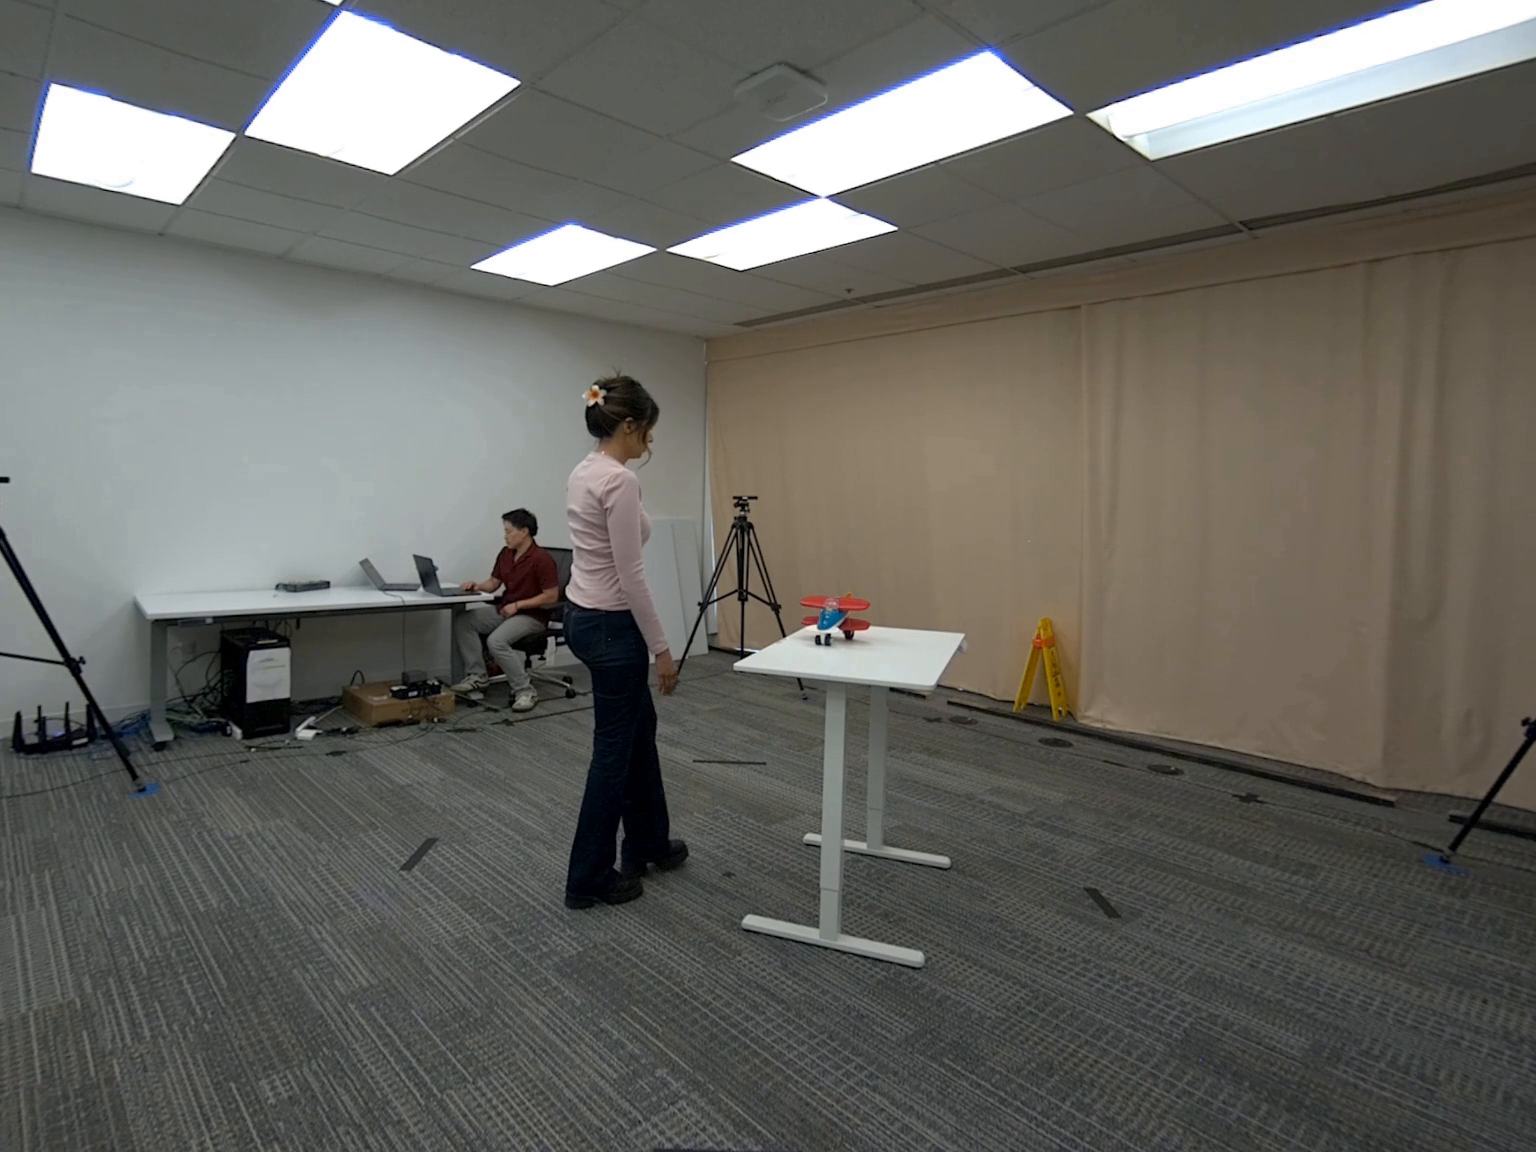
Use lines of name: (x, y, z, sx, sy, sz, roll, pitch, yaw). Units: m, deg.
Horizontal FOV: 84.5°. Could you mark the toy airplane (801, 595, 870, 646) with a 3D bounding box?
toy airplane: (0.243, 0.161, 3.027, 0.250, 0.156, 0.261, 0, 4, -8)
